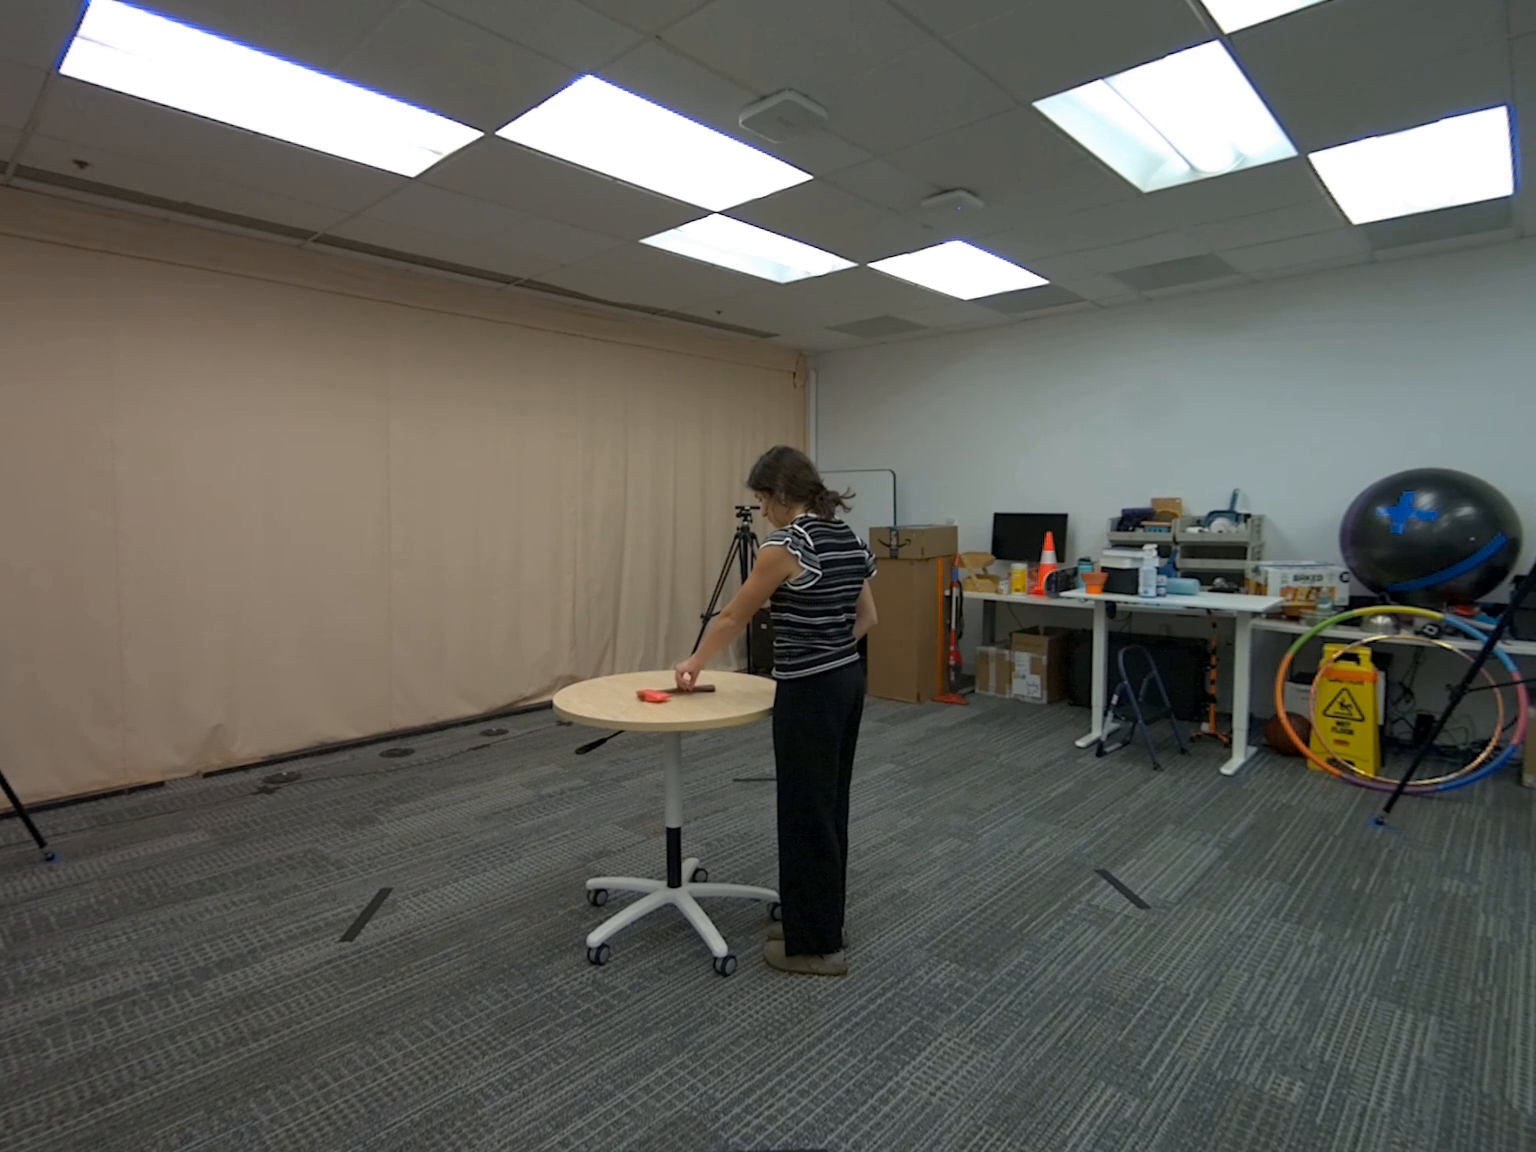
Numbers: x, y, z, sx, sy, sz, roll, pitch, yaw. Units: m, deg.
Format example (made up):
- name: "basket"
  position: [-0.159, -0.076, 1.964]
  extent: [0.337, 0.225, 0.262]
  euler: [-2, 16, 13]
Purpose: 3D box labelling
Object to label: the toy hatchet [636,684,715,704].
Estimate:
- name: "toy hatchet"
  position: [-0.276, 0.377, 2.678]
  extent: [0.265, 0.029, 0.133]
  euler: [-1, 2, -17]
